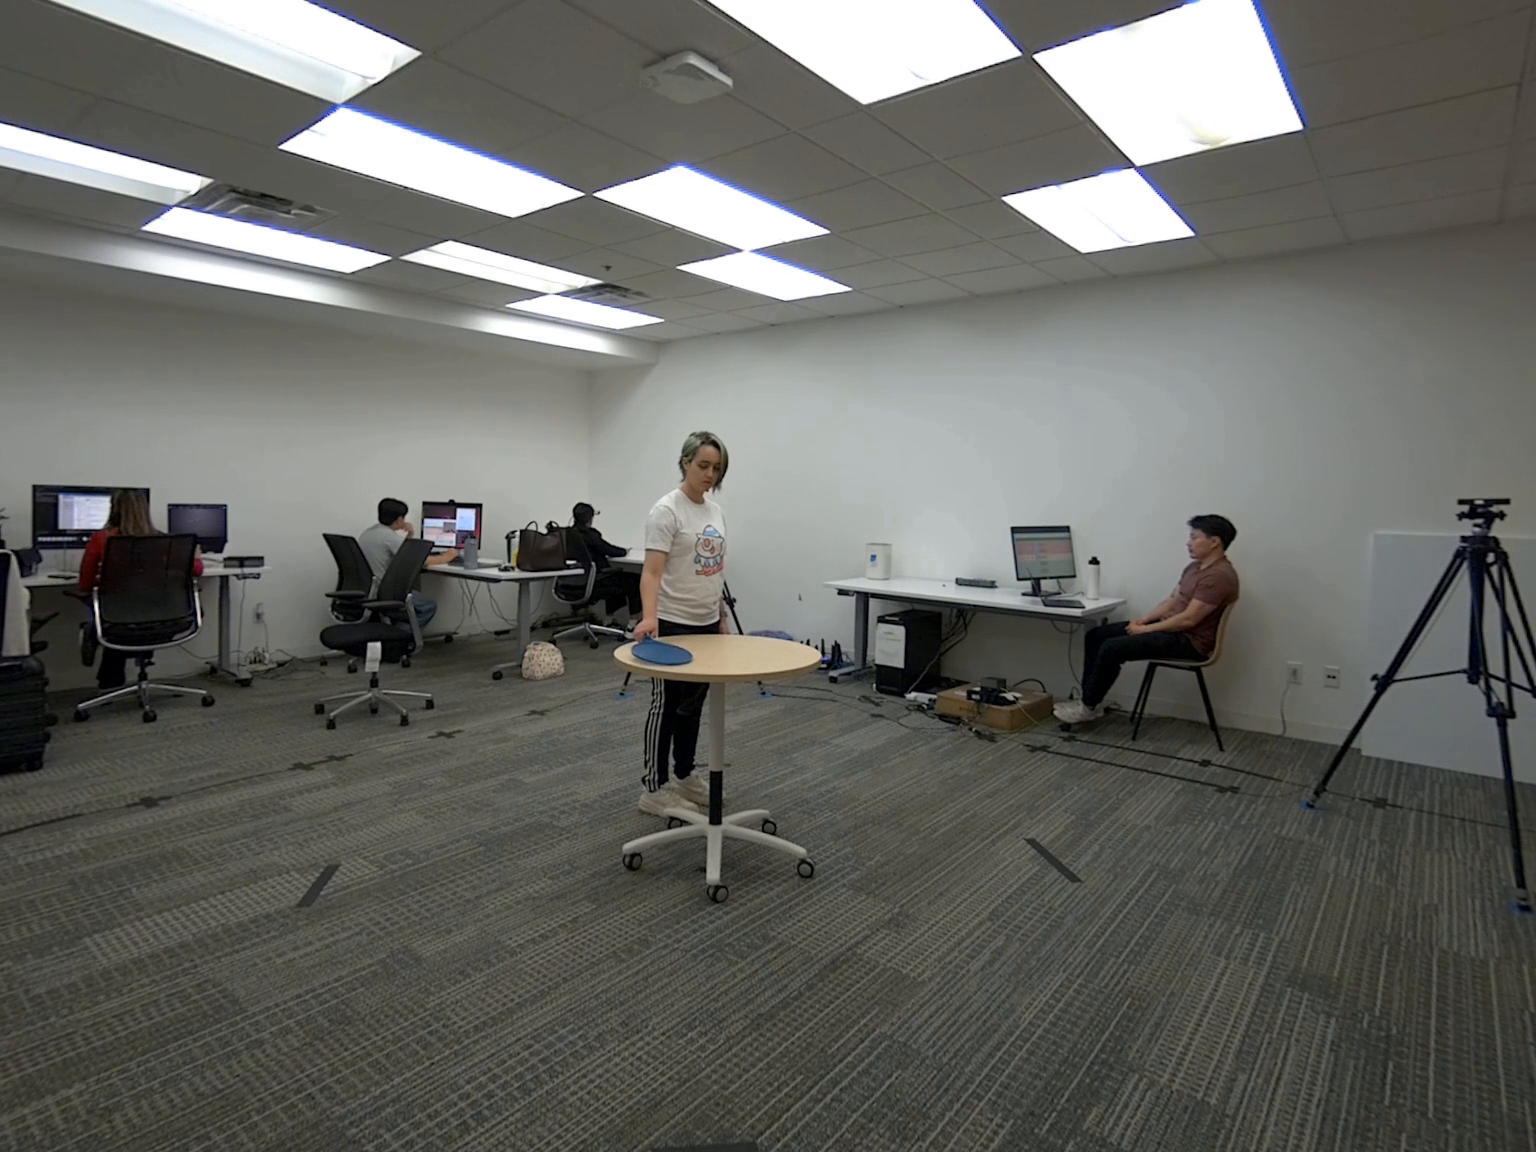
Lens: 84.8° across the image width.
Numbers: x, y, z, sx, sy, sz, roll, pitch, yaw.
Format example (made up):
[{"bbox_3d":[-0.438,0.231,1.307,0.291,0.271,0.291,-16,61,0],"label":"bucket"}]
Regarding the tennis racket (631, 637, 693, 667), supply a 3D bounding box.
[{"bbox_3d":[-0.411,0.260,3.101,0.209,0.031,0.444,3,9,-20],"label":"tennis racket"}]
